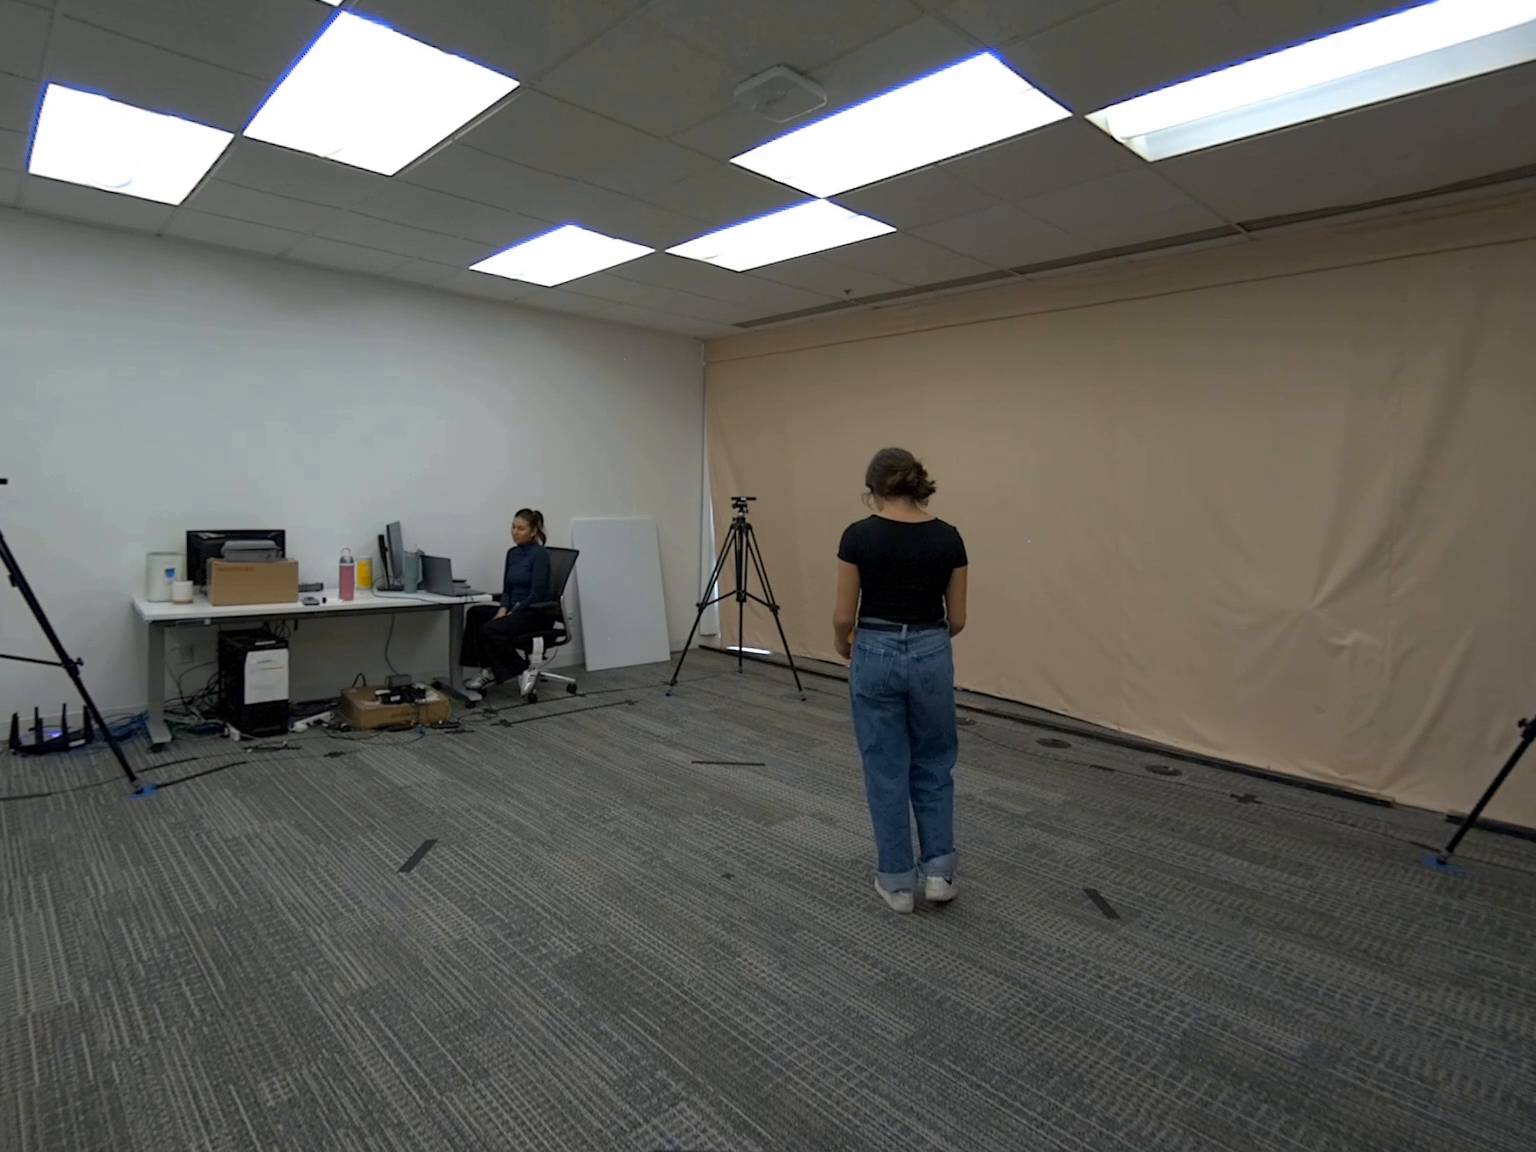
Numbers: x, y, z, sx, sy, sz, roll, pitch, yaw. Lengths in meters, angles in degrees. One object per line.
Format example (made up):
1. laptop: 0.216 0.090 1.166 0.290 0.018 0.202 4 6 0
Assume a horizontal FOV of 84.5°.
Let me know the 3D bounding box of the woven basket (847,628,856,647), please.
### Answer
1. woven basket: 0.456 0.265 3.138 0.351 0.073 0.254 1 12 3
